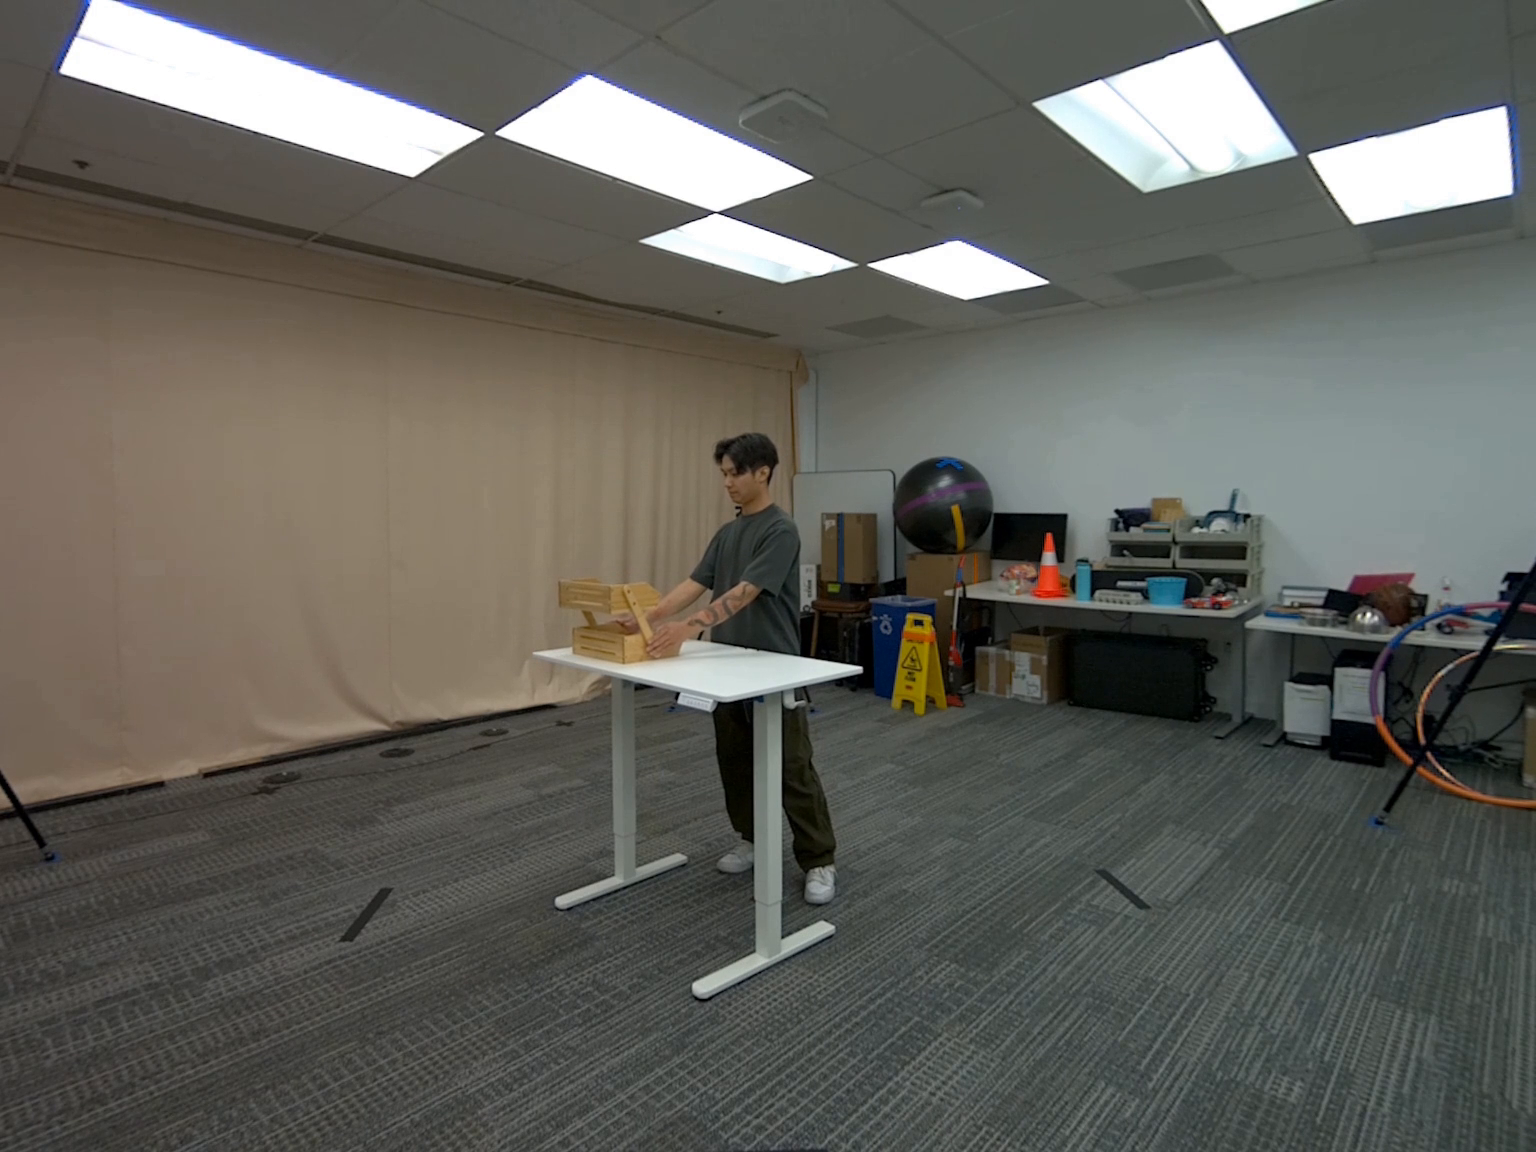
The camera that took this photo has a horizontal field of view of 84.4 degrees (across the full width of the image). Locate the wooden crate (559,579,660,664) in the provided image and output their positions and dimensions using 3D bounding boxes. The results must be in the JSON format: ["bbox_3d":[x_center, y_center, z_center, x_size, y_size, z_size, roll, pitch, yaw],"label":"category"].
[{"bbox_3d":[-0.513,0.141,2.889,0.335,0.273,0.293,2,5,44],"label":"wooden crate"}]
